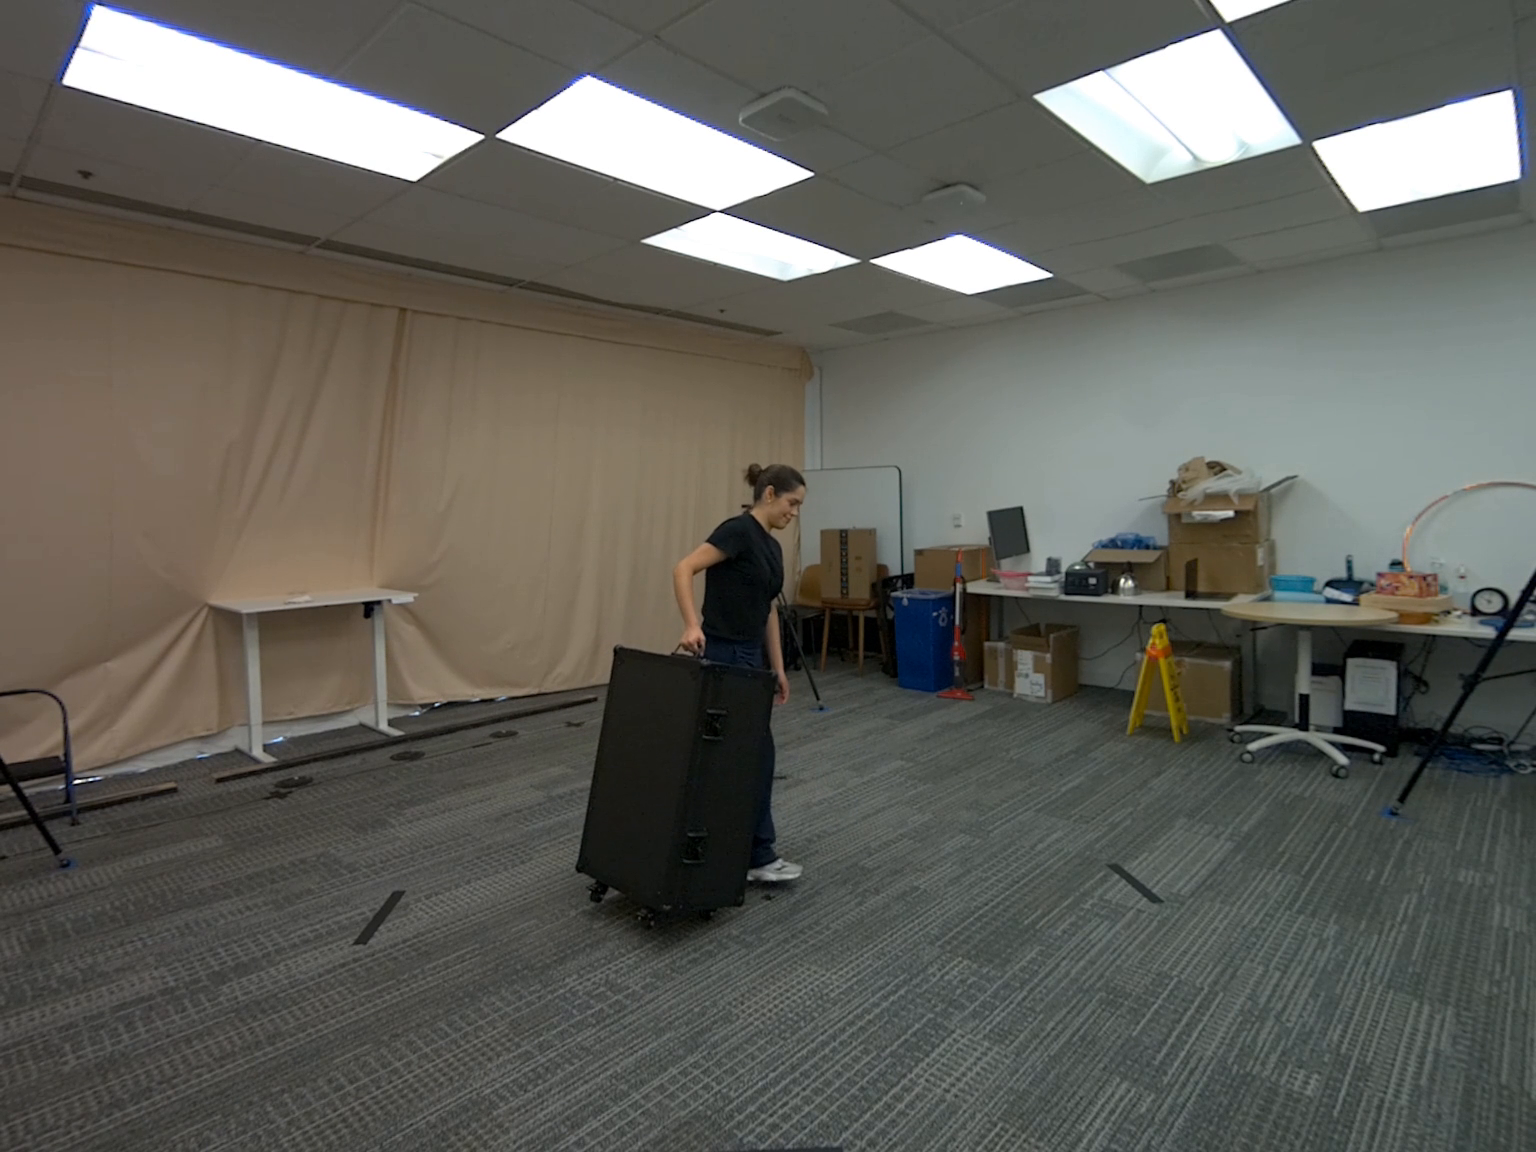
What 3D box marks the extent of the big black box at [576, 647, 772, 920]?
[{"bbox_3d":[-0.307,0.714,2.923,0.538,0.864,0.382,2,-11,44],"label":"big black box"}]
